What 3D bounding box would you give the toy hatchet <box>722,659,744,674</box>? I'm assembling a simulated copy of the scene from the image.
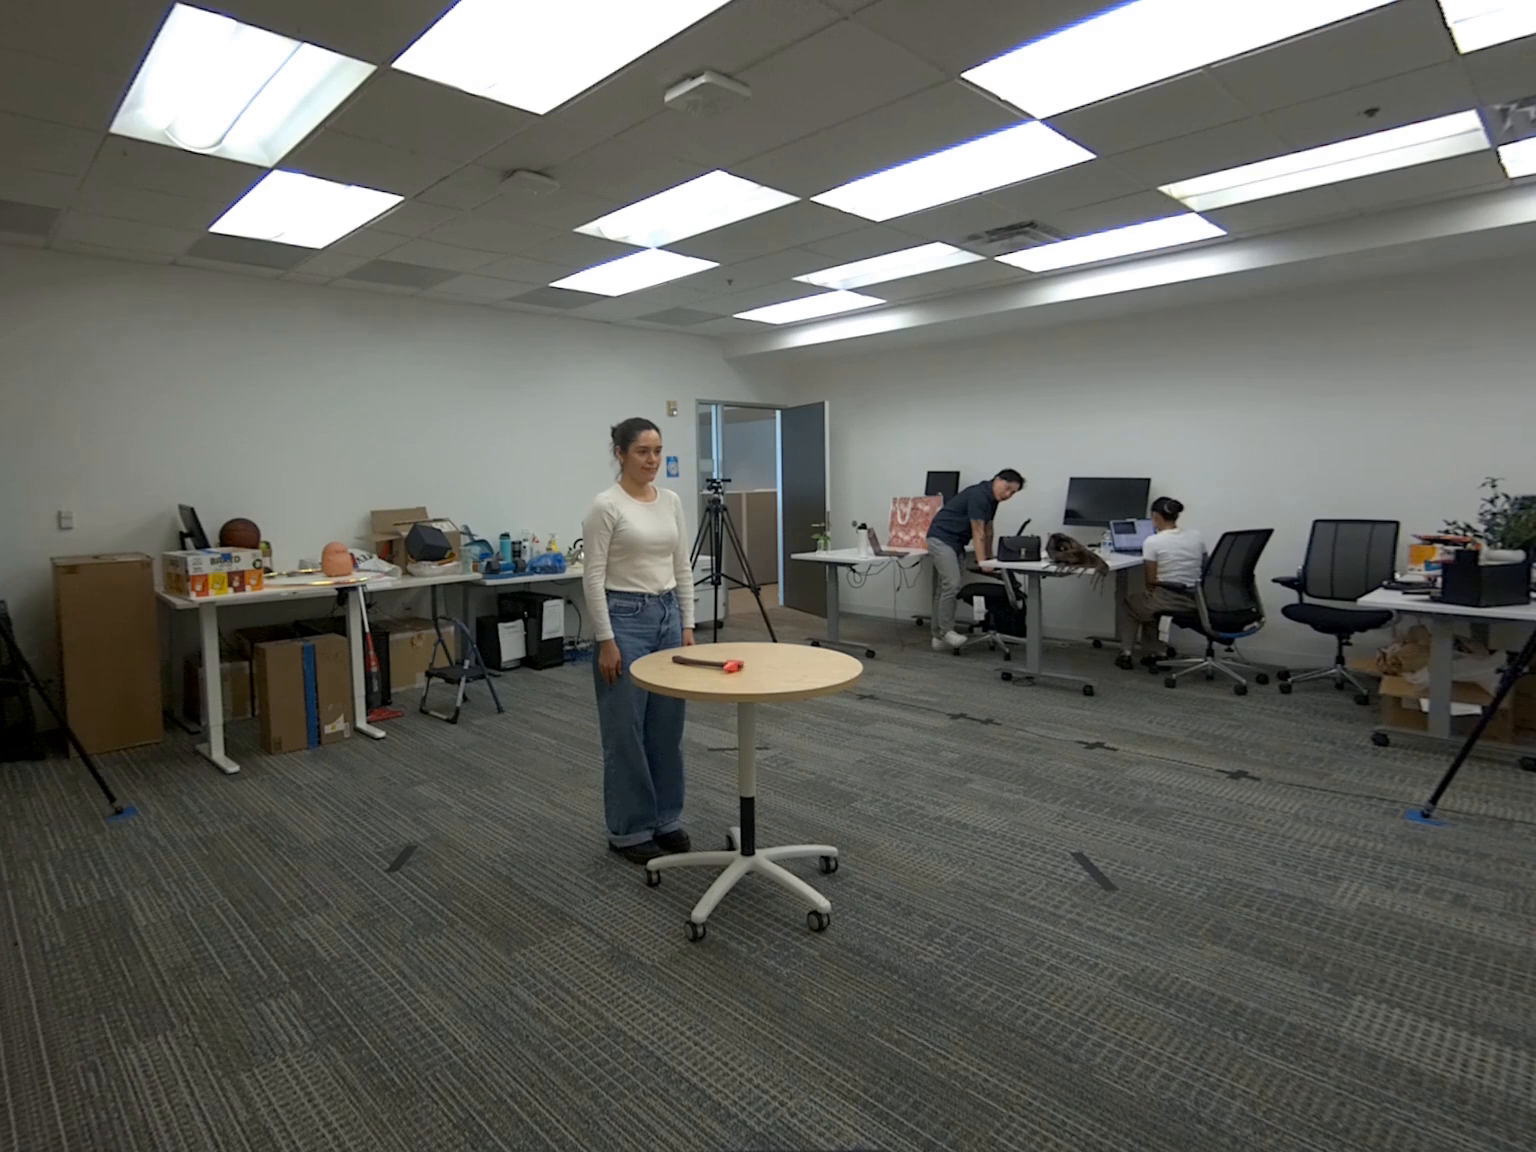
[{"bbox_3d":[-0.187,0.283,2.815,0.278,0.029,0.127,4,6,44],"label":"toy hatchet"}]
